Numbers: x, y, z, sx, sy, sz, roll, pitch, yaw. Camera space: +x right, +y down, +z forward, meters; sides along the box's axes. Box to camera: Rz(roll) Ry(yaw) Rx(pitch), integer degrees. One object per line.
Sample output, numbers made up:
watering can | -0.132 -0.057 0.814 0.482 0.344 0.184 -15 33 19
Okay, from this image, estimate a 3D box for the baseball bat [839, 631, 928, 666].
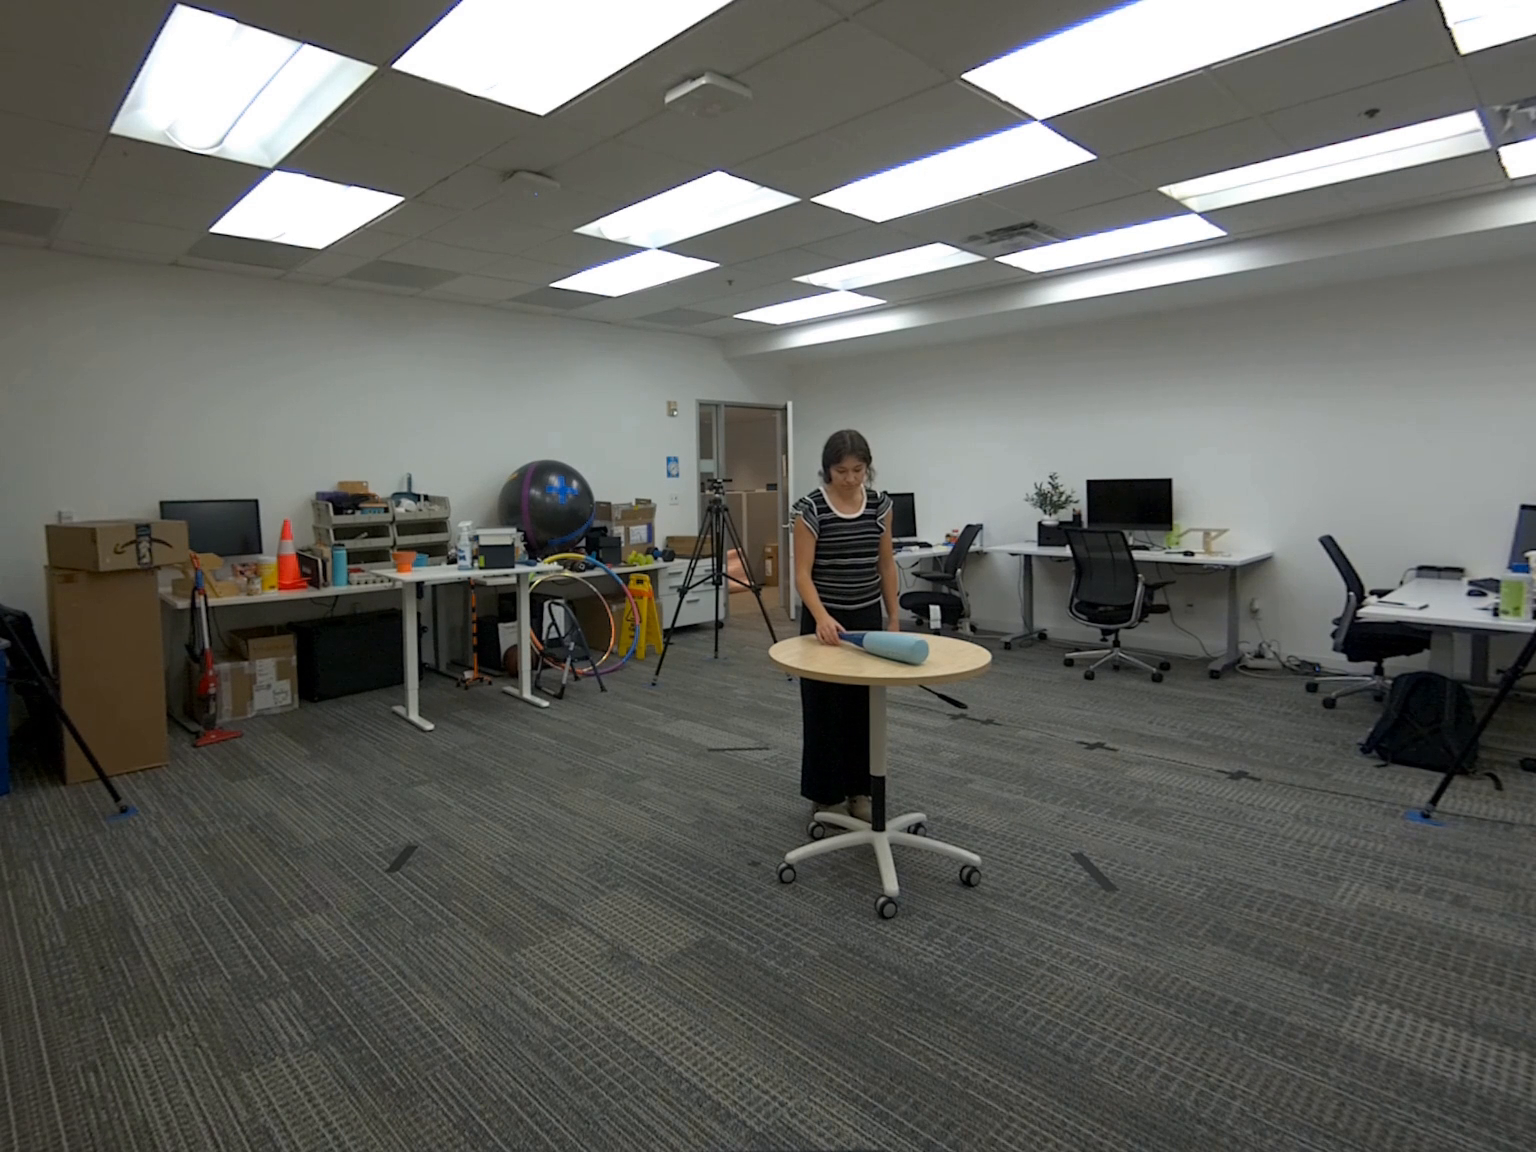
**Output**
baseball bat | 0.349 0.234 3.001 0.087 0.089 0.557 -4 5 -31
